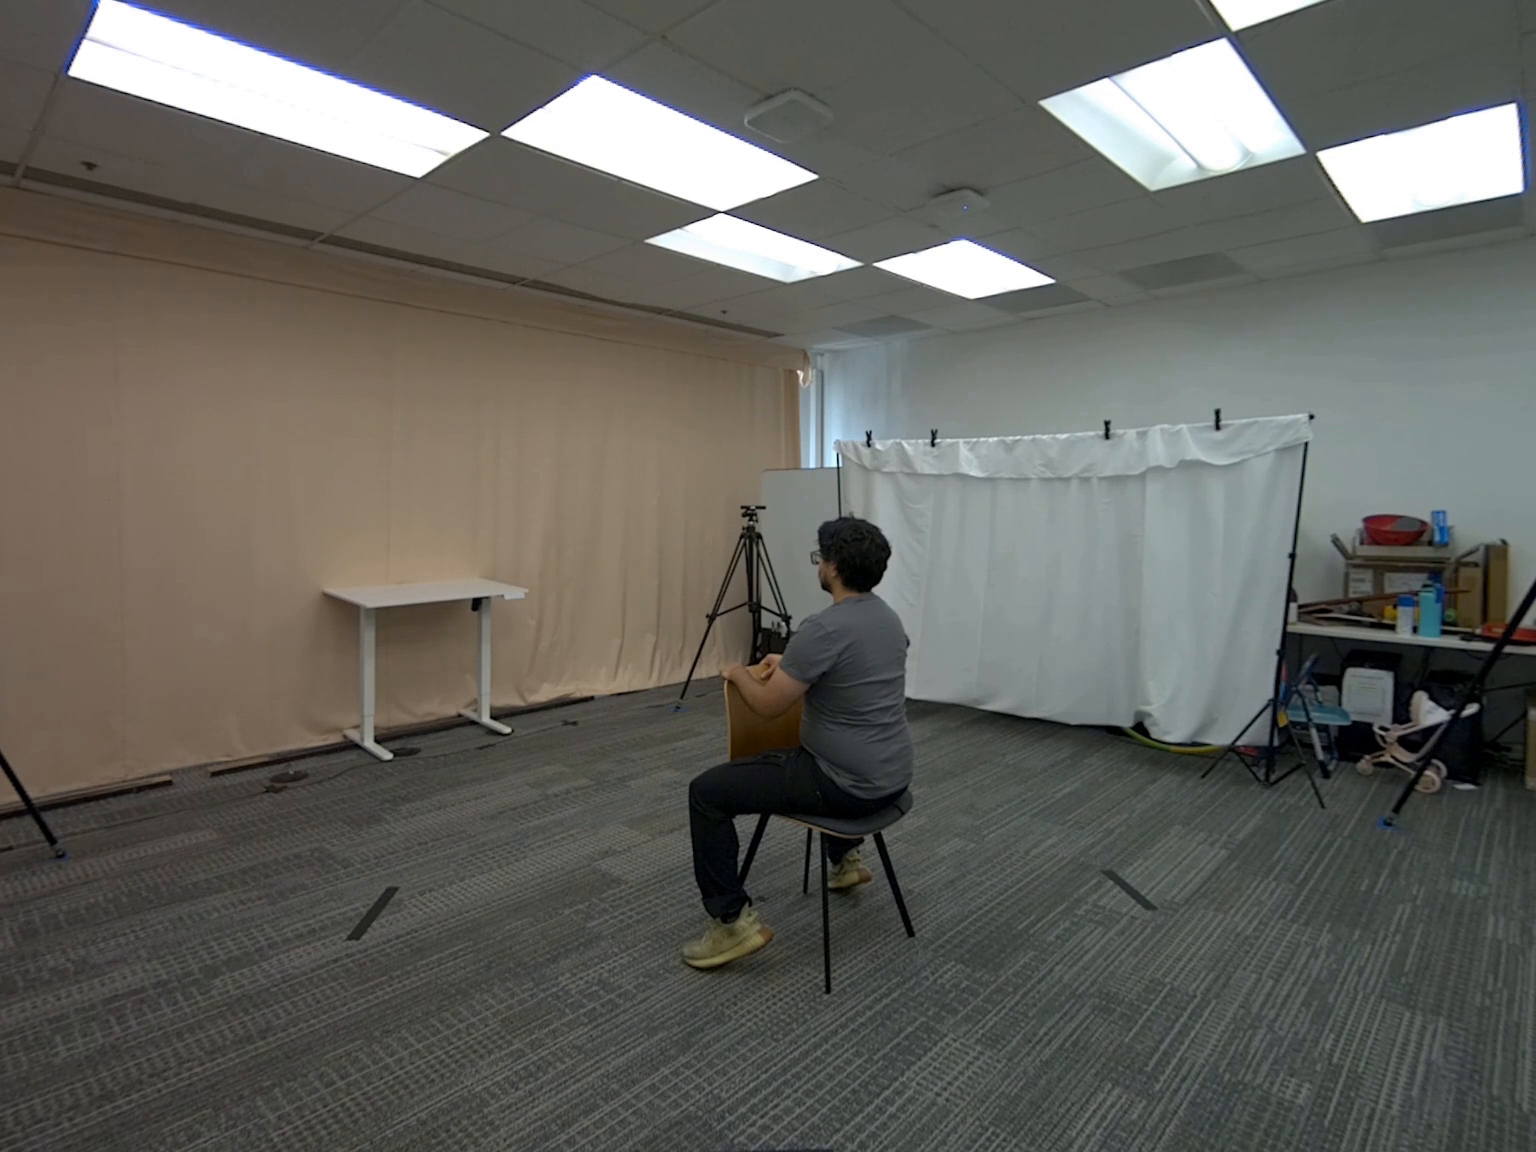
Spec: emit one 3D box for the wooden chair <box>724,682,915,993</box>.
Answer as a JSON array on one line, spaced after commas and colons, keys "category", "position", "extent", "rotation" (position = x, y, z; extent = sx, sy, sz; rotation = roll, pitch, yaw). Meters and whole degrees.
[{"category": "wooden chair", "position": [0.164, 0.743, 2.683], "extent": [0.539, 0.877, 0.463], "rotation": [-3, 1, 44]}]
